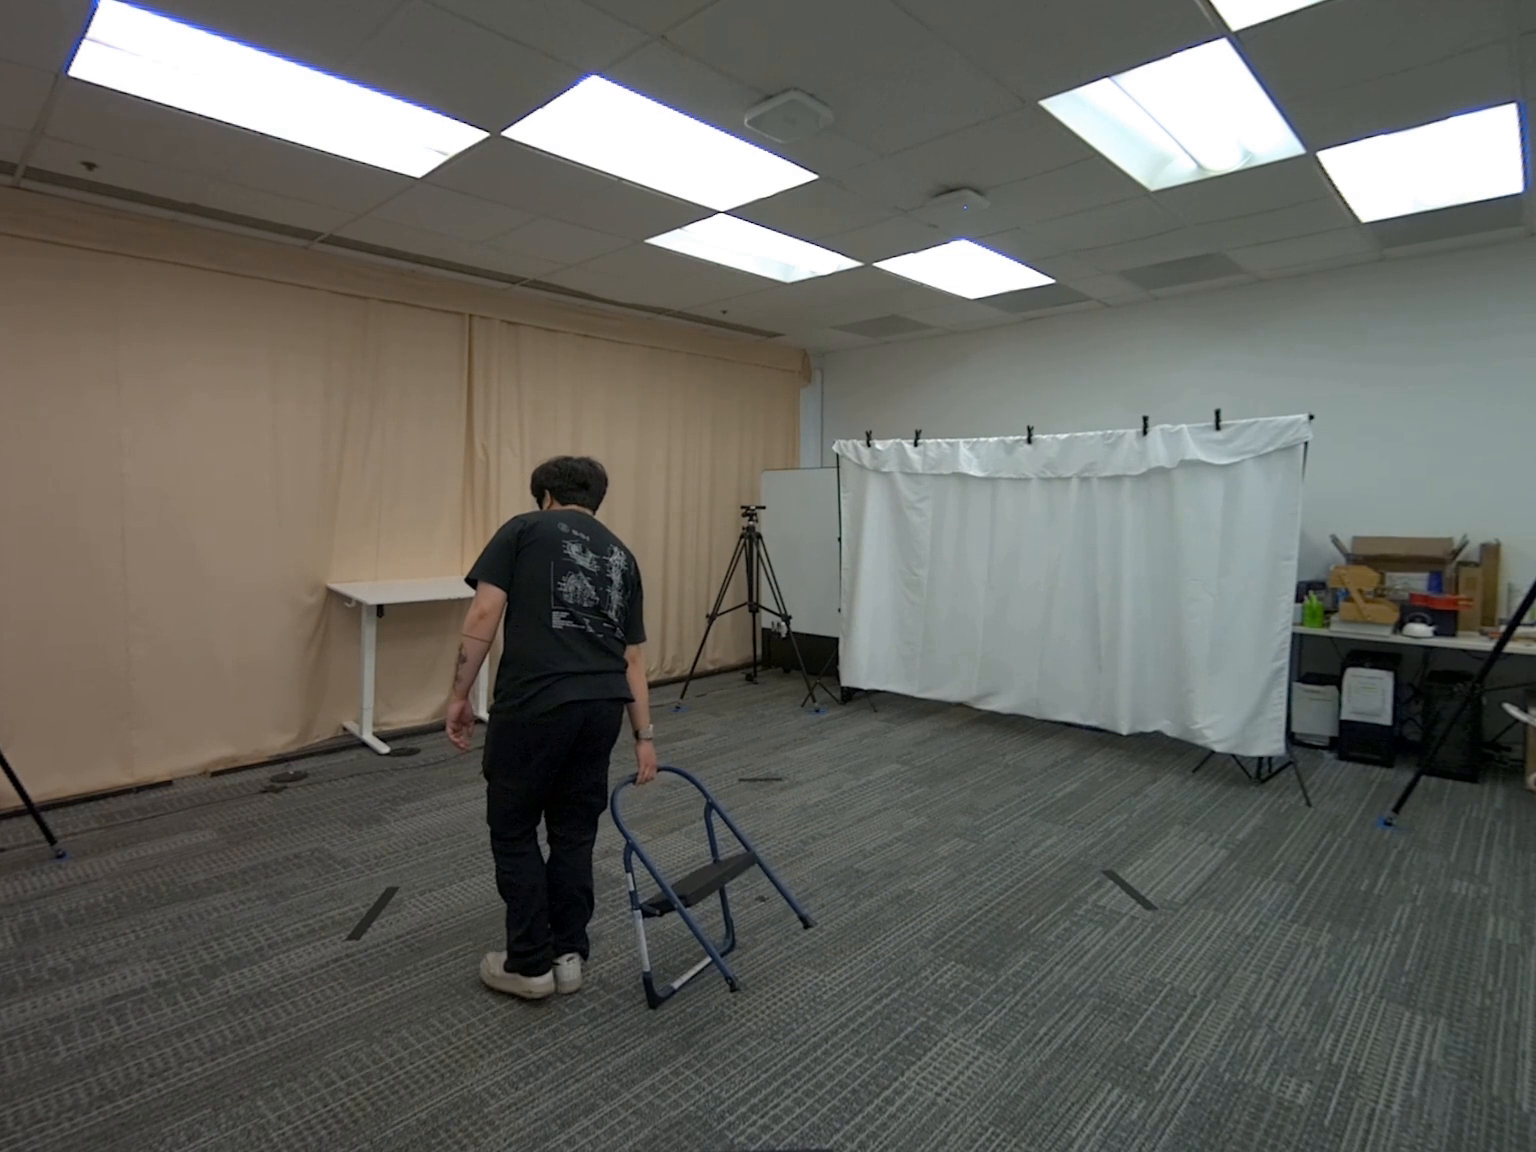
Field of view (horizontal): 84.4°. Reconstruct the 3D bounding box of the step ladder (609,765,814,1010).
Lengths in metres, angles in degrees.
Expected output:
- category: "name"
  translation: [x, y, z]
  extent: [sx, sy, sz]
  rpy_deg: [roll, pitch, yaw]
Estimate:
- category: "step ladder"
  translation: [-0.207, 0.849, 2.473]
  extent: [0.355, 0.614, 0.418]
  rpy_deg: [-31, -15, 30]
